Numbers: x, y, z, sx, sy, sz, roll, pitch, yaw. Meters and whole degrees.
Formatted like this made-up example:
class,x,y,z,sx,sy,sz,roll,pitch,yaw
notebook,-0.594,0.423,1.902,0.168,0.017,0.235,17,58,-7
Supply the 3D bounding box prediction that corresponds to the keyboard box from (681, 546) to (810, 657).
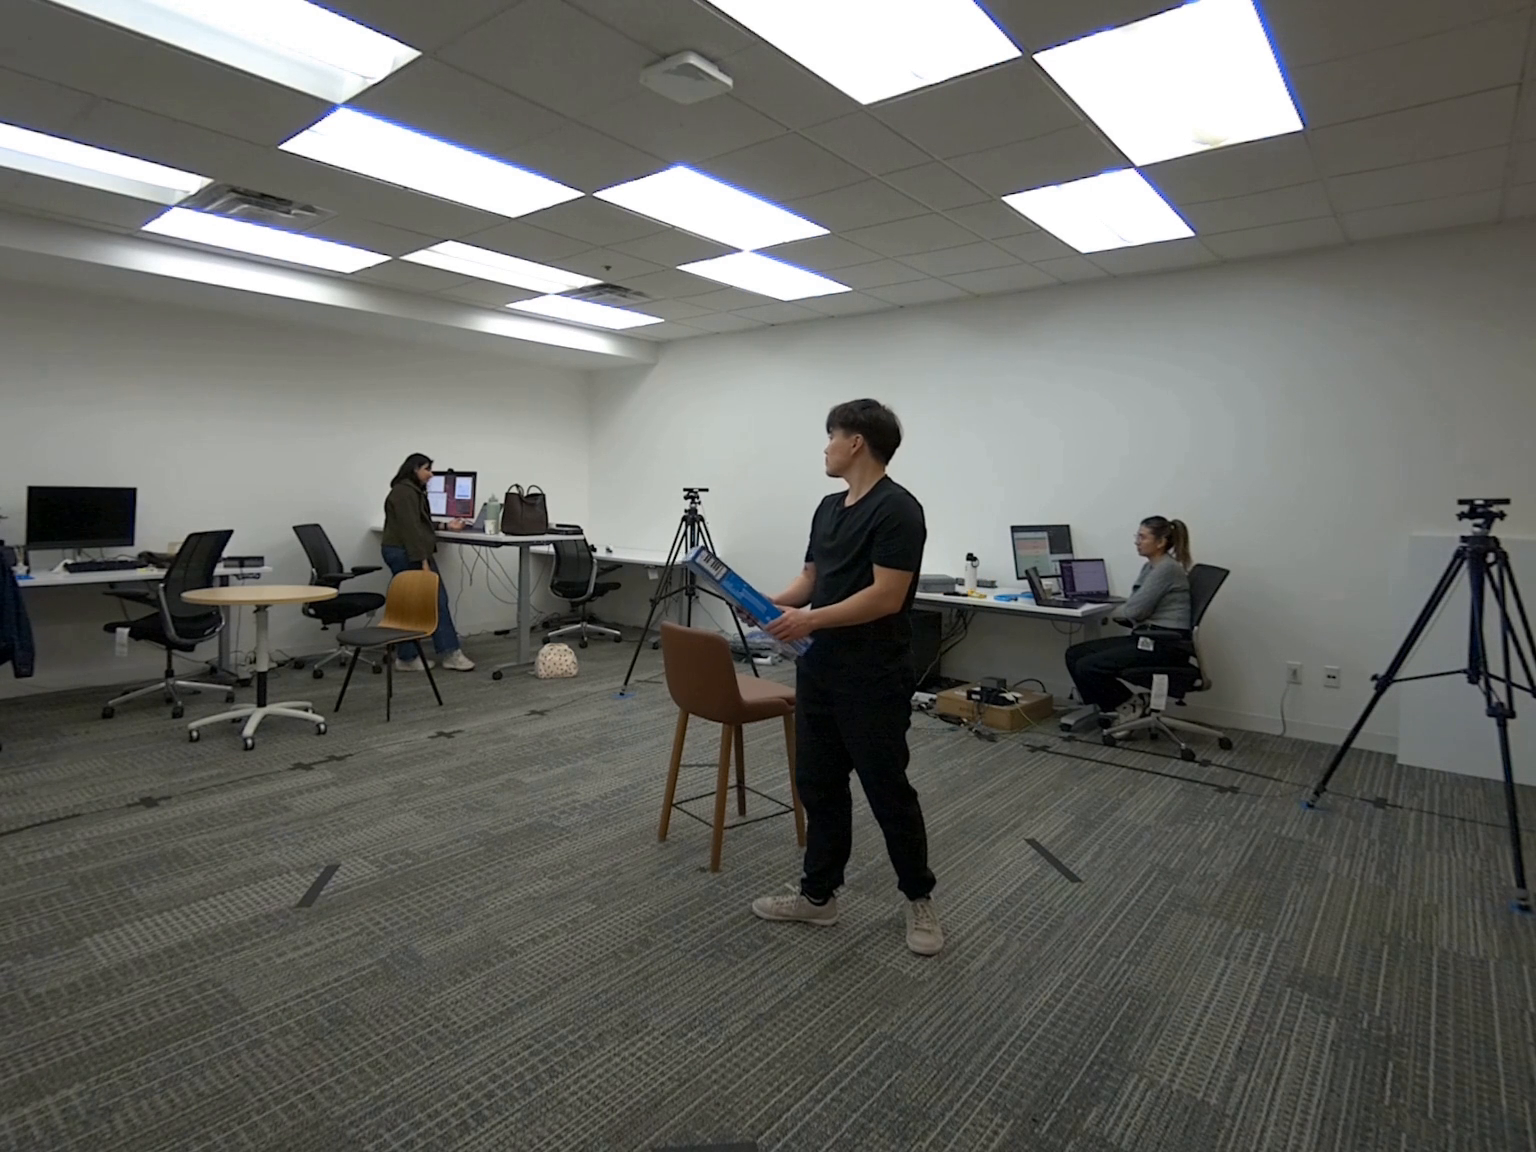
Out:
class,x,y,z,sx,sy,sz,roll,pitch,yaw
keyboard box,-0.074,0.081,2.553,0.432,0.059,0.178,41,-13,-8
